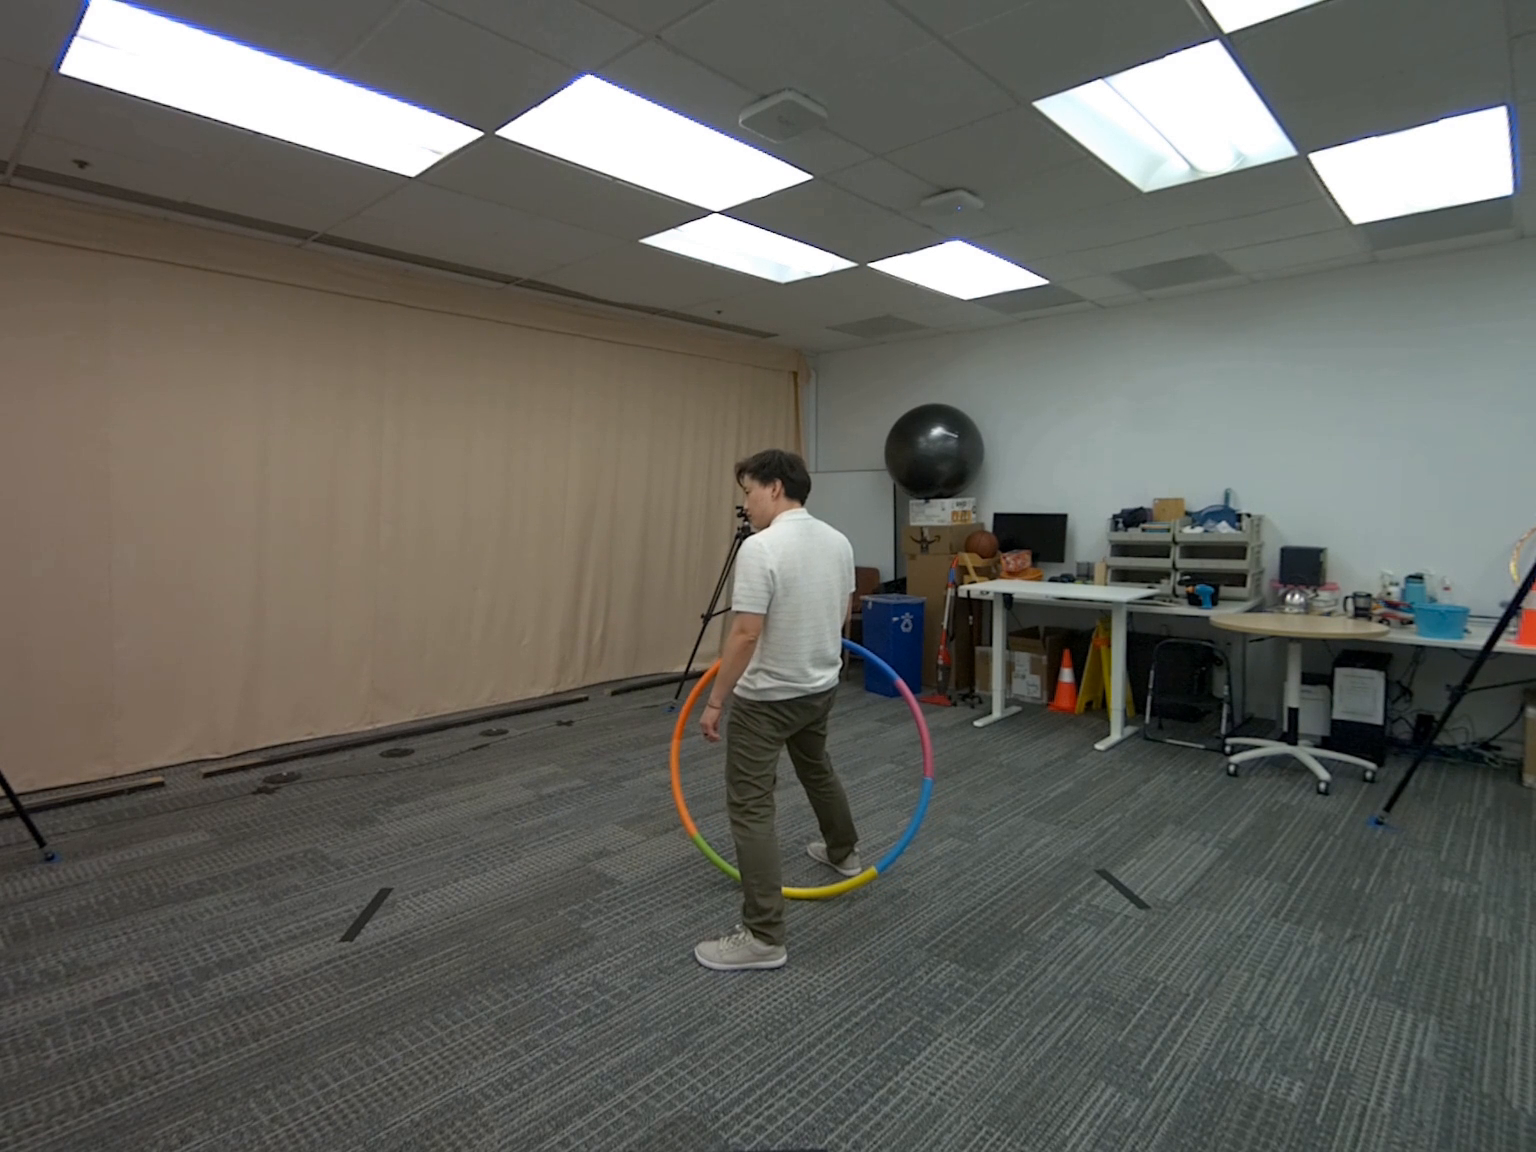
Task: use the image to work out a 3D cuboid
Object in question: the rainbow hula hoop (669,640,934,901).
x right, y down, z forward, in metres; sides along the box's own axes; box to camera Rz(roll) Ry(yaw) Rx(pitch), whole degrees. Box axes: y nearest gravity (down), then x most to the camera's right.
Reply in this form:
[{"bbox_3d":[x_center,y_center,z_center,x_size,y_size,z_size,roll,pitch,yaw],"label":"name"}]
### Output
[{"bbox_3d":[0.108,0.680,3.152,0.998,0.987,0.034,1,-21,18],"label":"rainbow hula hoop"}]
